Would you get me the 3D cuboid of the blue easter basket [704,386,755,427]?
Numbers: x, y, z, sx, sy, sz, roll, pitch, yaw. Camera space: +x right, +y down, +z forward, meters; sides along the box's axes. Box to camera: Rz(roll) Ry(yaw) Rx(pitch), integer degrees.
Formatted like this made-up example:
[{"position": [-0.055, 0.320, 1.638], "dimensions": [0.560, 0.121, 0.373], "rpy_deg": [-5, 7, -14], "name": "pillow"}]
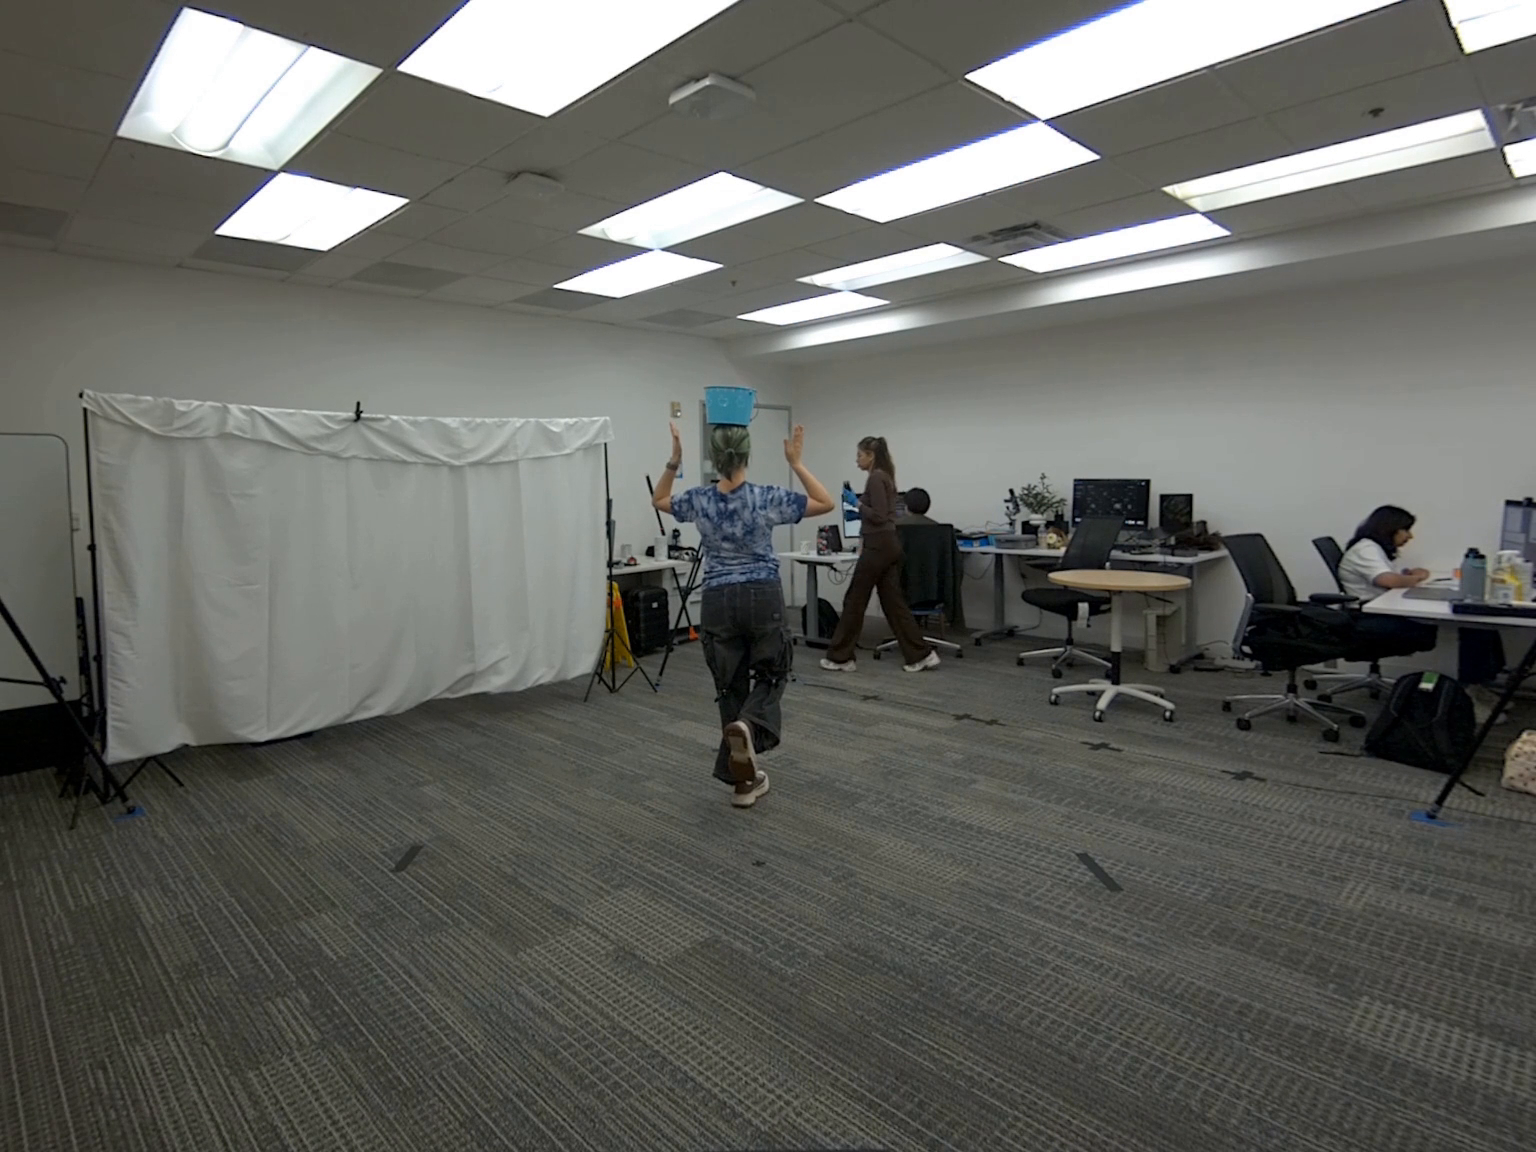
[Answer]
[{"position": [-0.173, -0.726, 3.681], "dimensions": [0.243, 0.155, 0.245], "rpy_deg": [2, 5, -2], "name": "blue easter basket"}]
